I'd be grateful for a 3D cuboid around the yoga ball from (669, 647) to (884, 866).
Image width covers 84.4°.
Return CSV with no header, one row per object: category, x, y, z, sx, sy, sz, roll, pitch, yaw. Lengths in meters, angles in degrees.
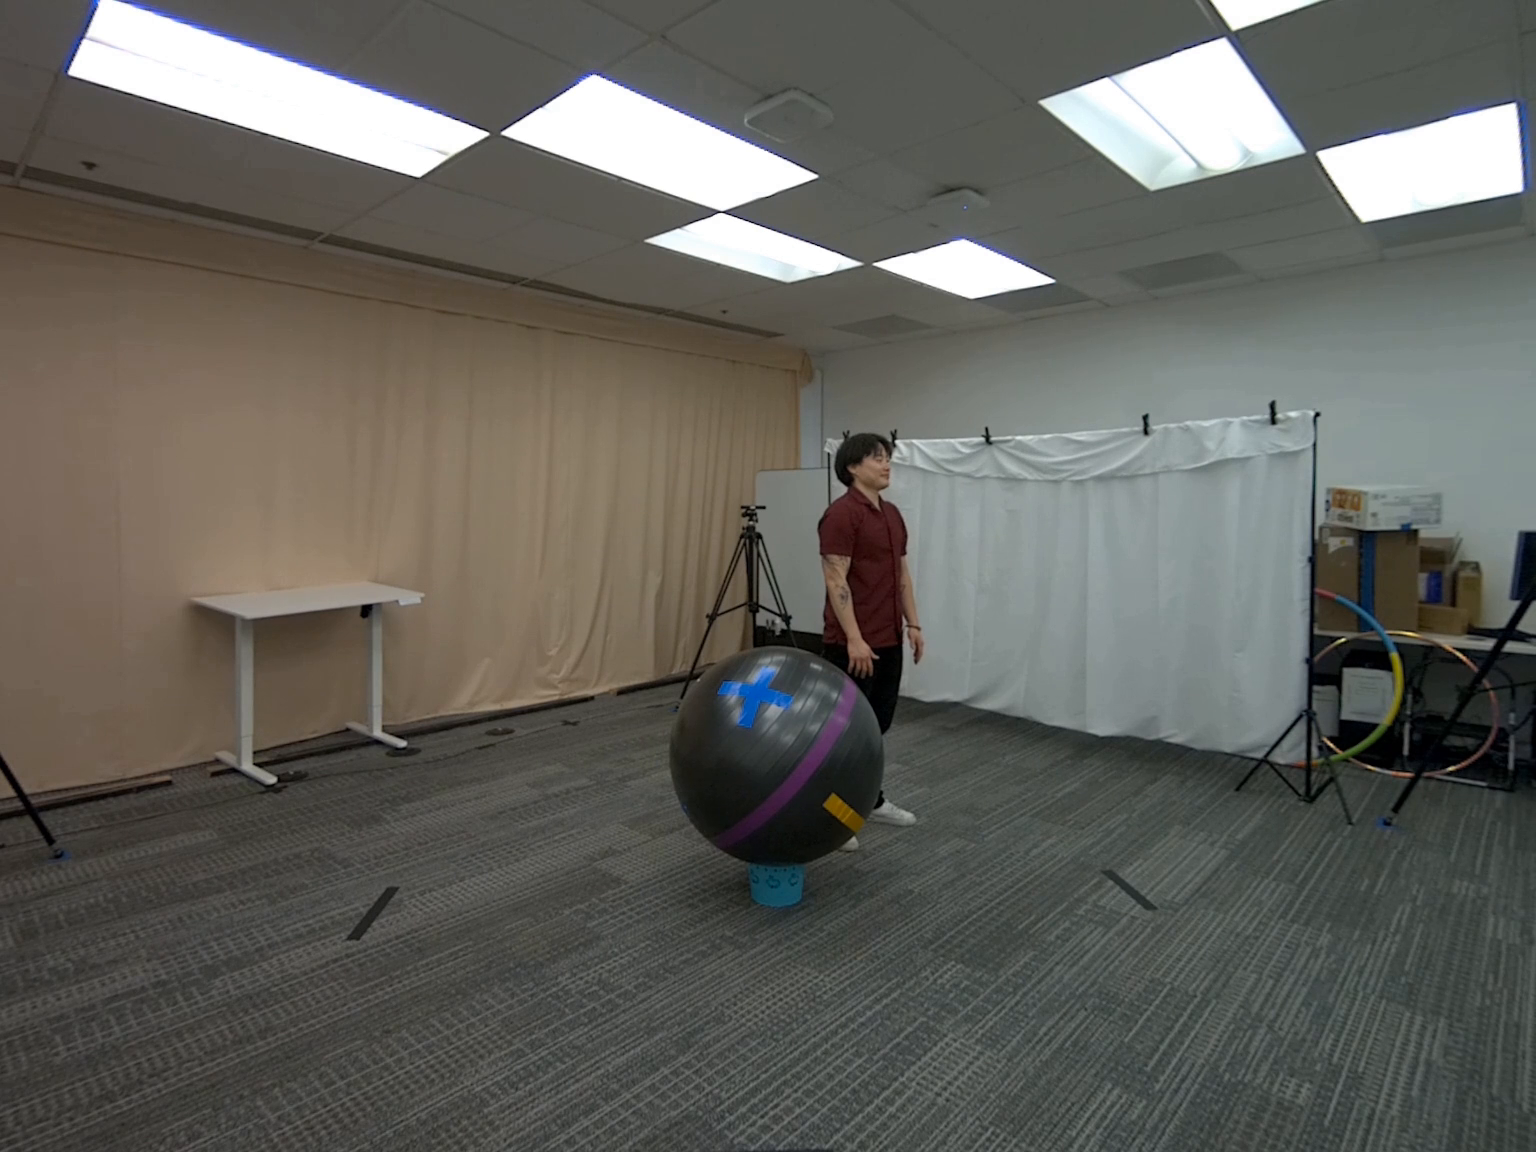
yoga ball,0.020,0.634,2.995,0.757,0.756,0.760,0,4,-2
